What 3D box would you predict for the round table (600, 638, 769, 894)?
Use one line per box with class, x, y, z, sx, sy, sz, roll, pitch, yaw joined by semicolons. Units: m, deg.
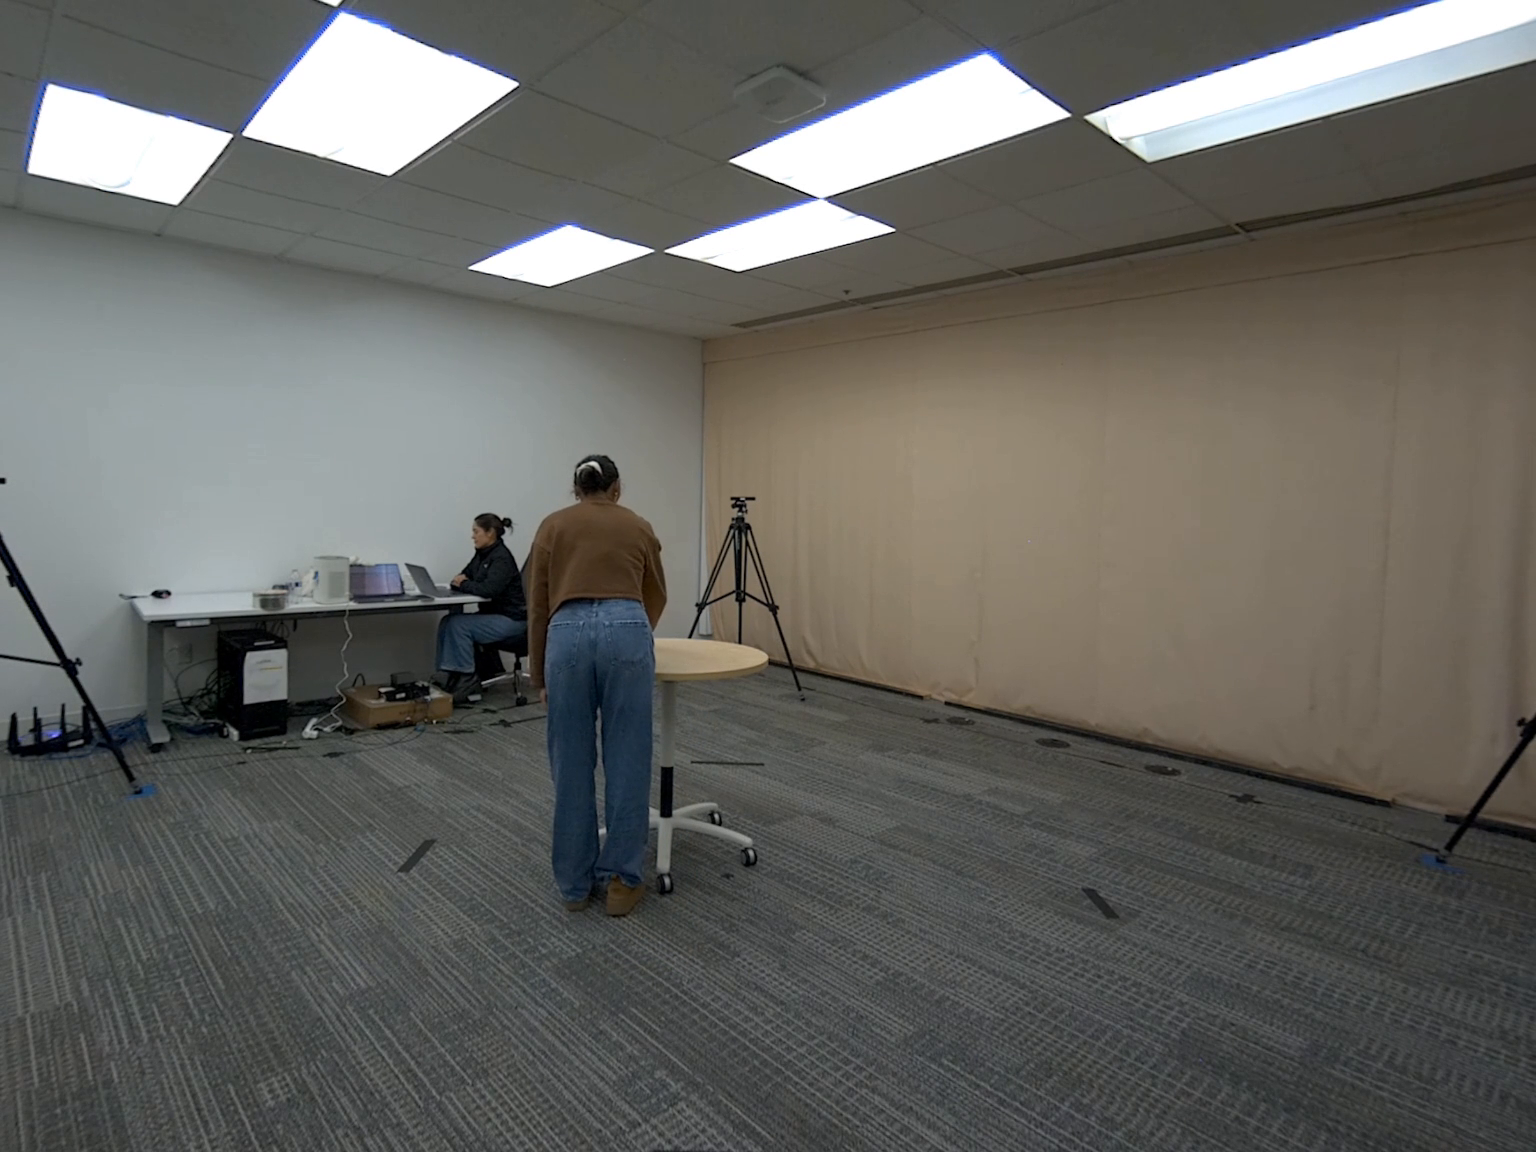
round table;-0.399;0.698;3.294;0.763;0.792;0.766;1;4;-1
